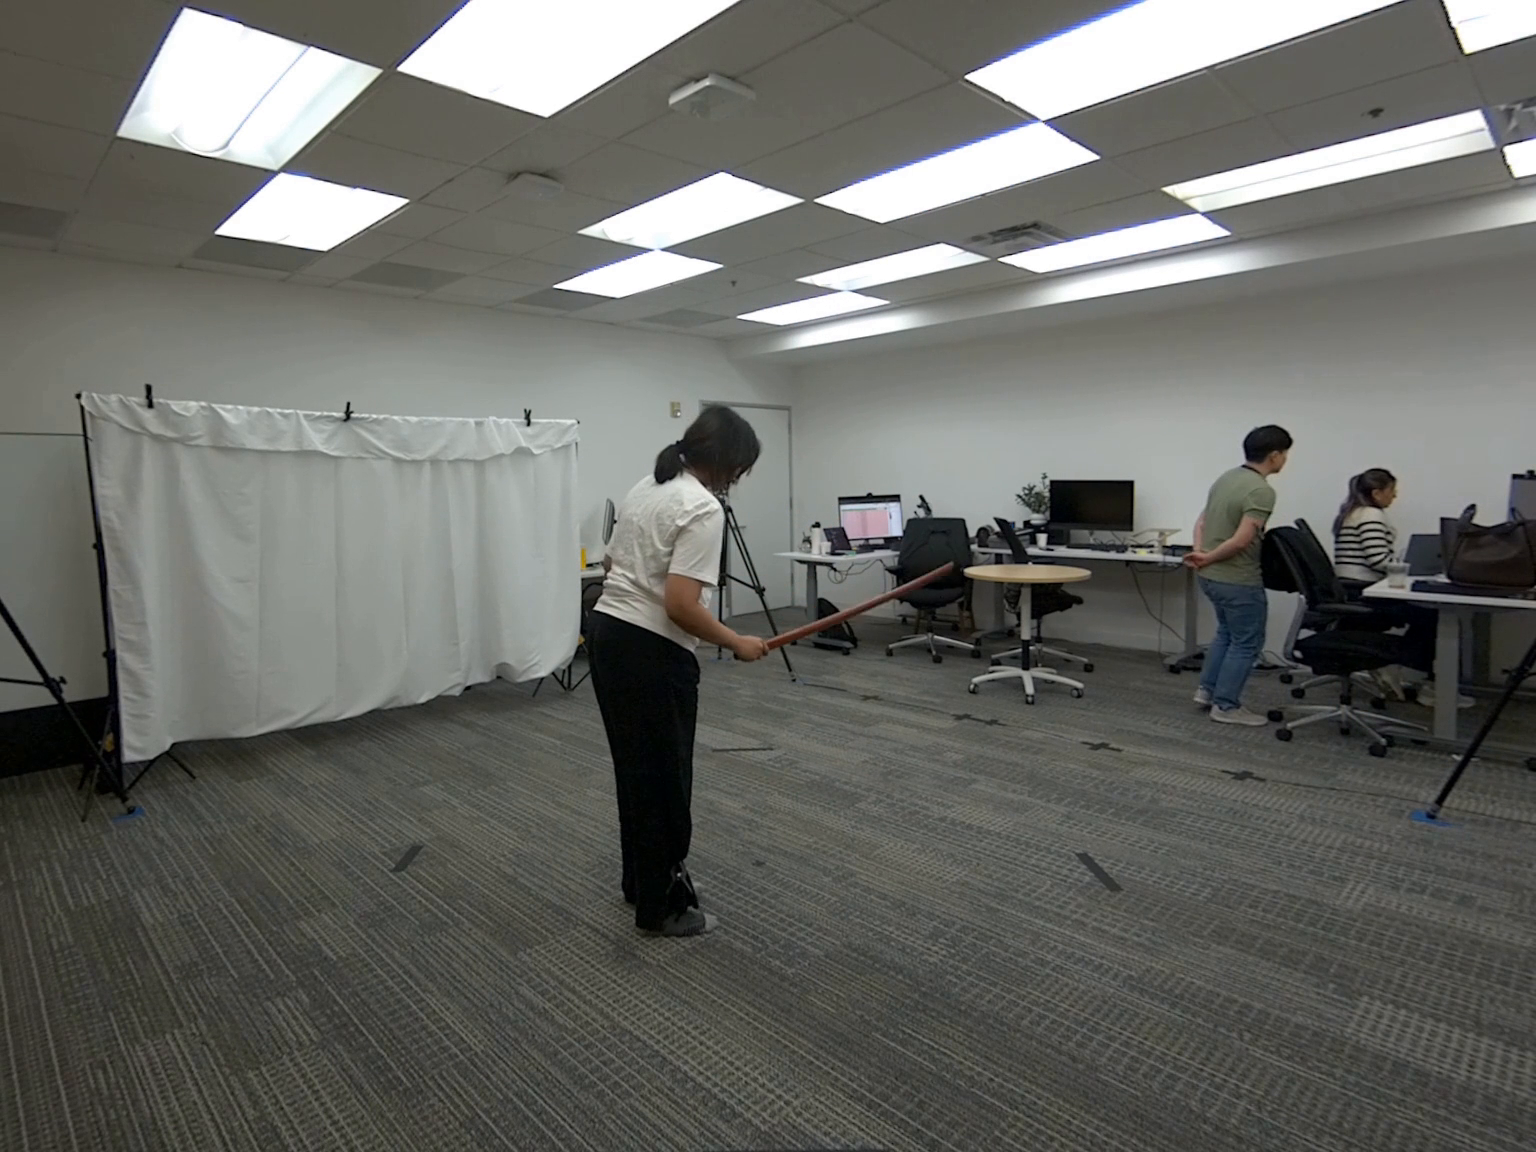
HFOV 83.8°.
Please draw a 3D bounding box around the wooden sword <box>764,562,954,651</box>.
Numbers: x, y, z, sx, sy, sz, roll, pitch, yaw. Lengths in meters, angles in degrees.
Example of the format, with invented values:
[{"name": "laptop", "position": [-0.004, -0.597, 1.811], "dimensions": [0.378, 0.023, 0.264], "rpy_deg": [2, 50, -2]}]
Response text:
[{"name": "wooden sword", "position": [0.303, 0.117, 2.891], "dimensions": [1.007, 0.024, 0.051], "rpy_deg": [-21, -14, -34]}]
